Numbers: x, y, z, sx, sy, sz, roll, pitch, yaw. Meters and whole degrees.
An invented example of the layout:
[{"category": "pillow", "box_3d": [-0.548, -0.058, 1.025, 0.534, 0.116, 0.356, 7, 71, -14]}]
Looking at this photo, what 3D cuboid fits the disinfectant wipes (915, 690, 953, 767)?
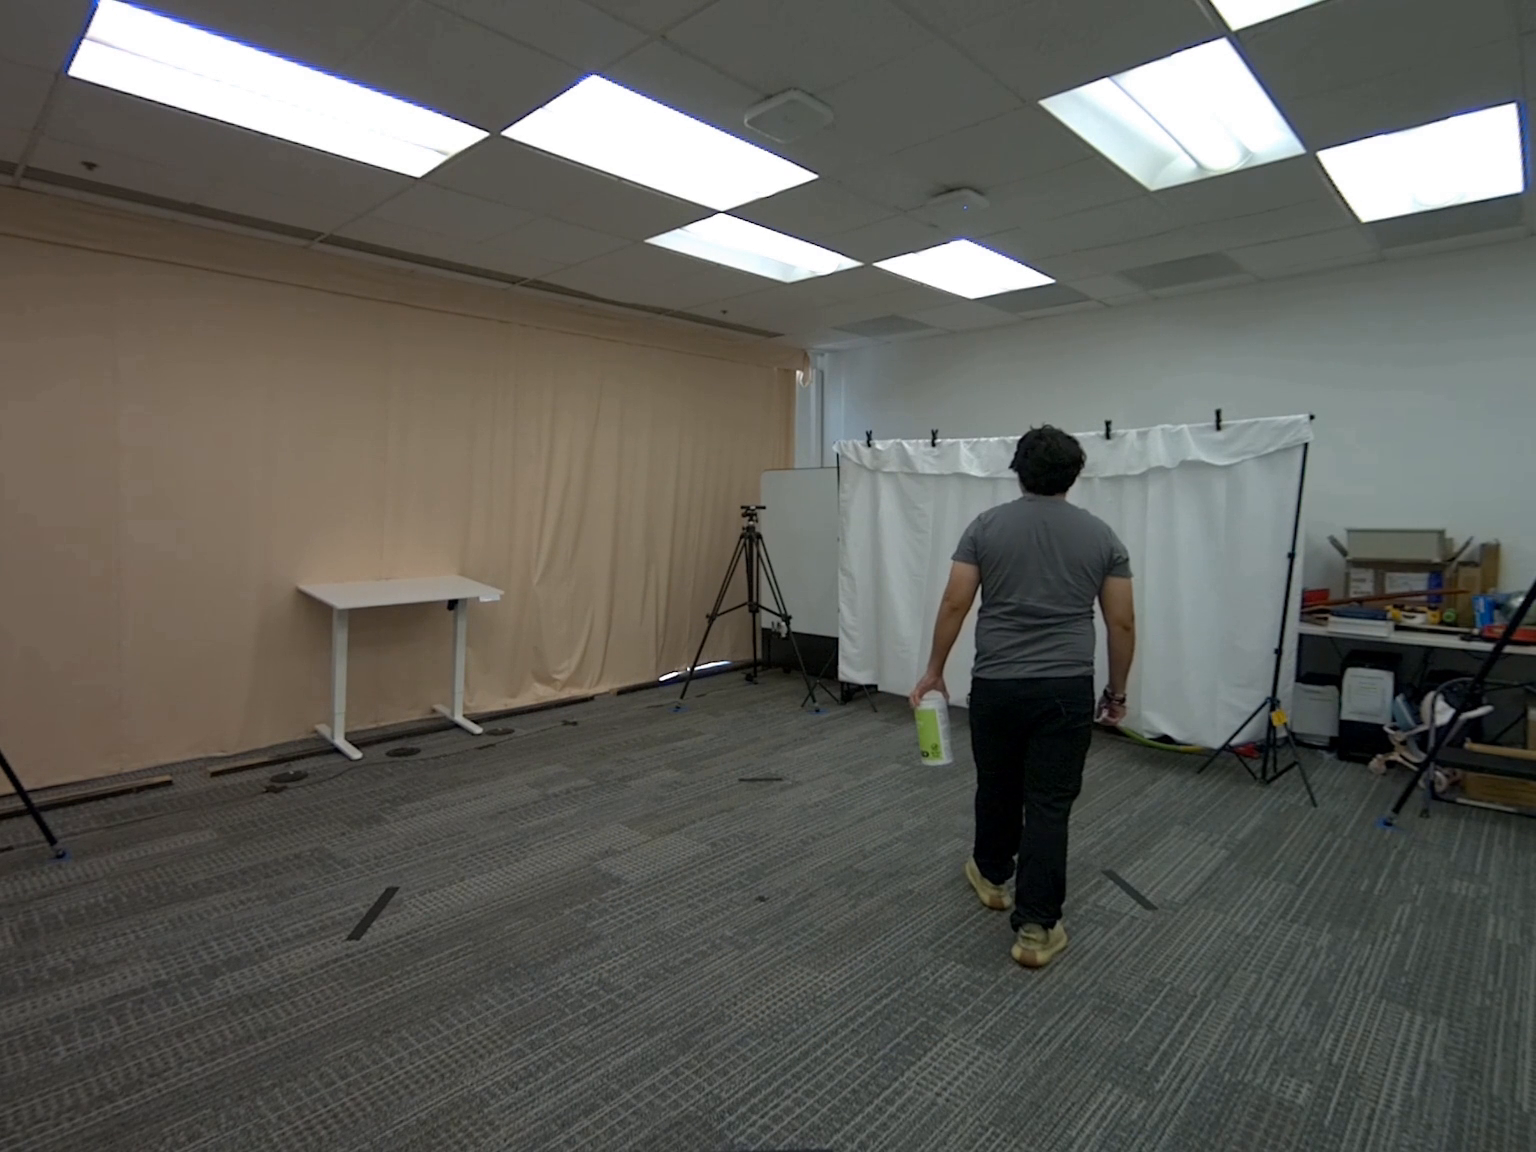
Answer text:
[{"category": "disinfectant wipes", "box_3d": [0.567, 0.526, 2.834, 0.117, 0.218, 0.117, -7, -5, -2]}]
